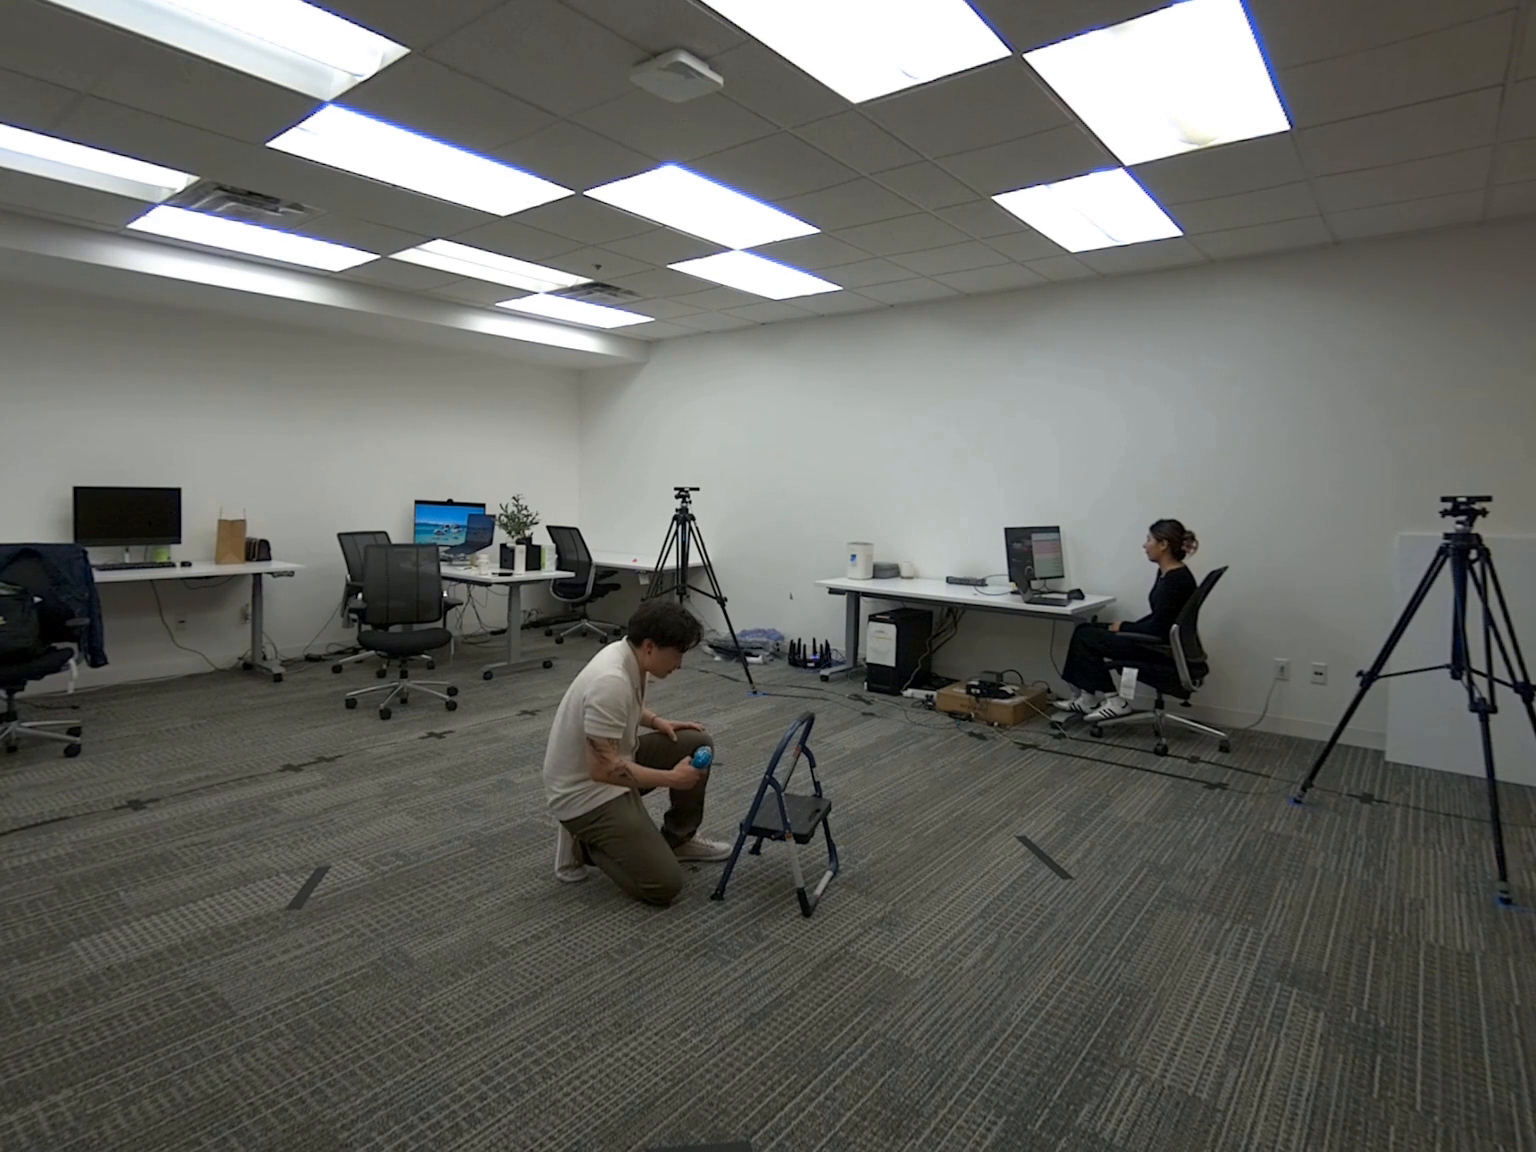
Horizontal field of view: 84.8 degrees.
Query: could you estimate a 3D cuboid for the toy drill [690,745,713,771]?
[{"bbox_3d":[-0.245,0.652,2.918,0.061,0.145,0.169,32,11,2],"label":"toy drill"}]
